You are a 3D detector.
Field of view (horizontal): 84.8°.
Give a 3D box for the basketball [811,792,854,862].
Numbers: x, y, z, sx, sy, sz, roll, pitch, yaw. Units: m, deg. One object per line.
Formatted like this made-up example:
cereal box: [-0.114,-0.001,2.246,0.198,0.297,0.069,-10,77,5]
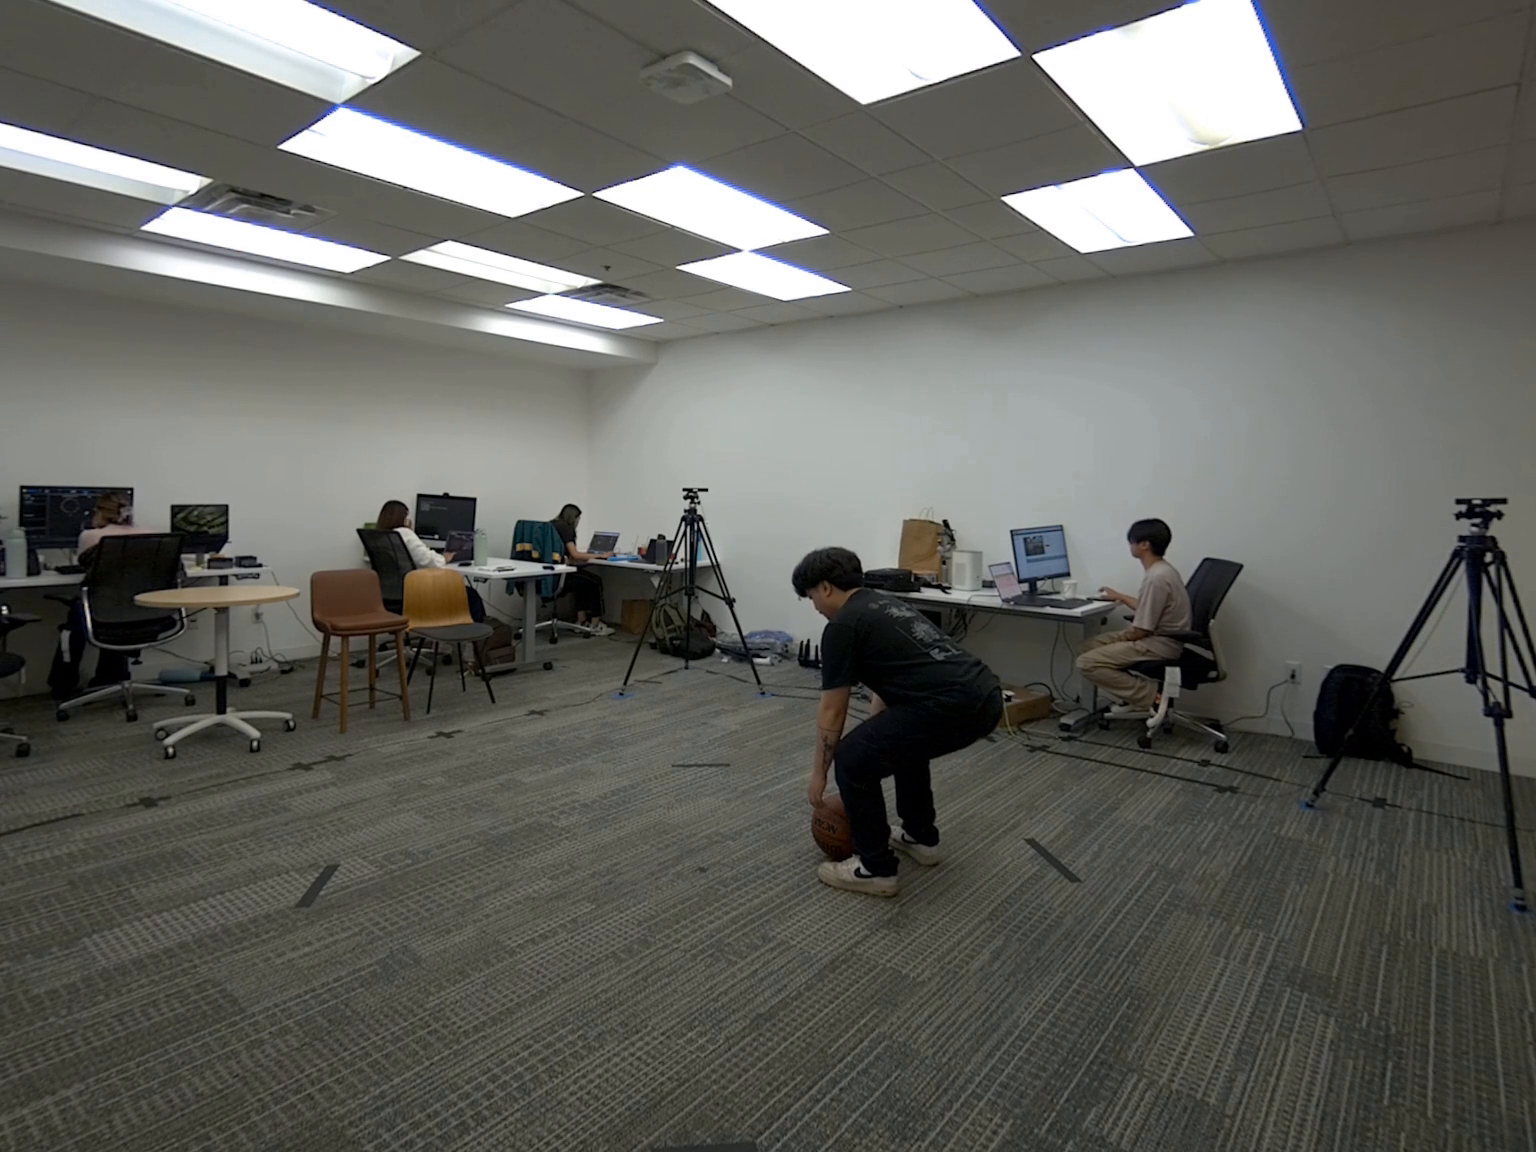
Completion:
basketball: [0.270,0.943,3.241,0.235,0.235,0.237,1,4,-2]
